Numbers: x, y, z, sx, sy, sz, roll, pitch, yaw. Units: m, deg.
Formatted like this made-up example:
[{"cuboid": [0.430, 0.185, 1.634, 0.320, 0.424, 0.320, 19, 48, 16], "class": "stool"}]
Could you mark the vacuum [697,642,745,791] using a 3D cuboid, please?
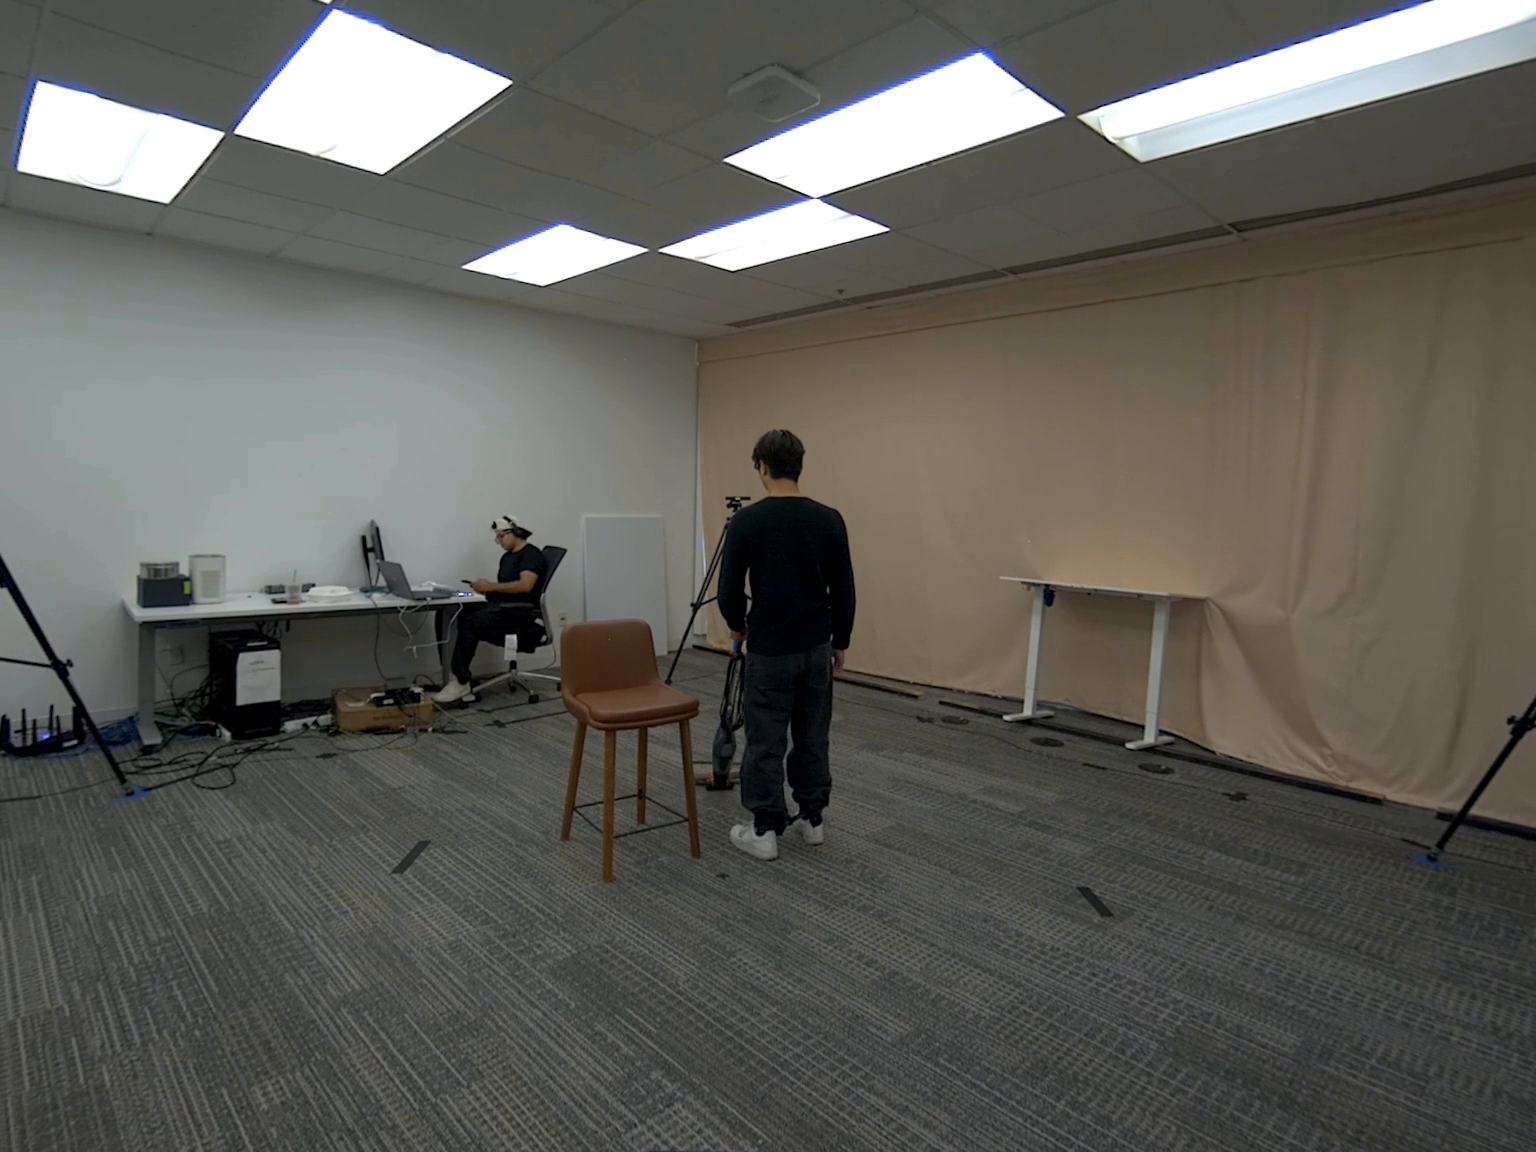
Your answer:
[{"cuboid": [-0.181, 0.614, 3.784, 0.250, 1.031, 0.148, -1, 41, -13], "class": "vacuum"}]
